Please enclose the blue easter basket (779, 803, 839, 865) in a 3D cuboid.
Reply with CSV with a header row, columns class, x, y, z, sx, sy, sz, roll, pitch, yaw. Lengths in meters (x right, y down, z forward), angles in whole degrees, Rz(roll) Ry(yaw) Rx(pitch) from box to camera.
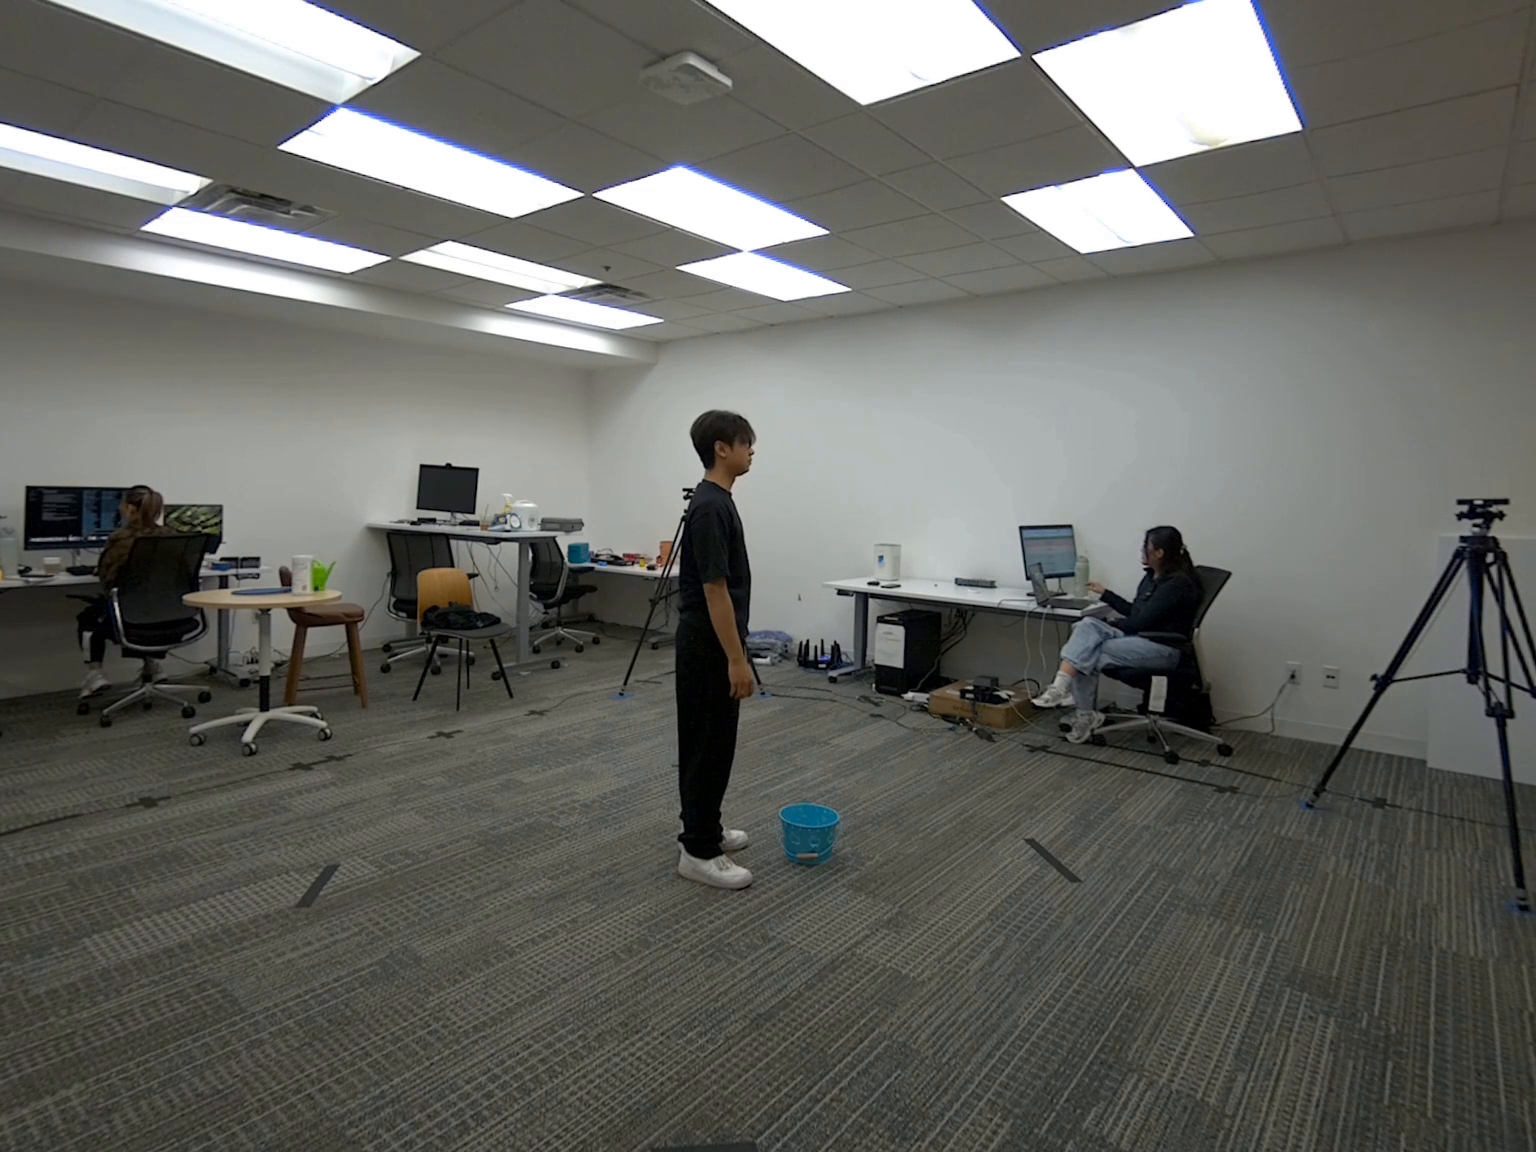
class,x,y,z,sx,sy,sz,roll,pitch,yaw
blue easter basket,0.144,0.984,3.257,0.243,0.155,0.245,1,5,-2
